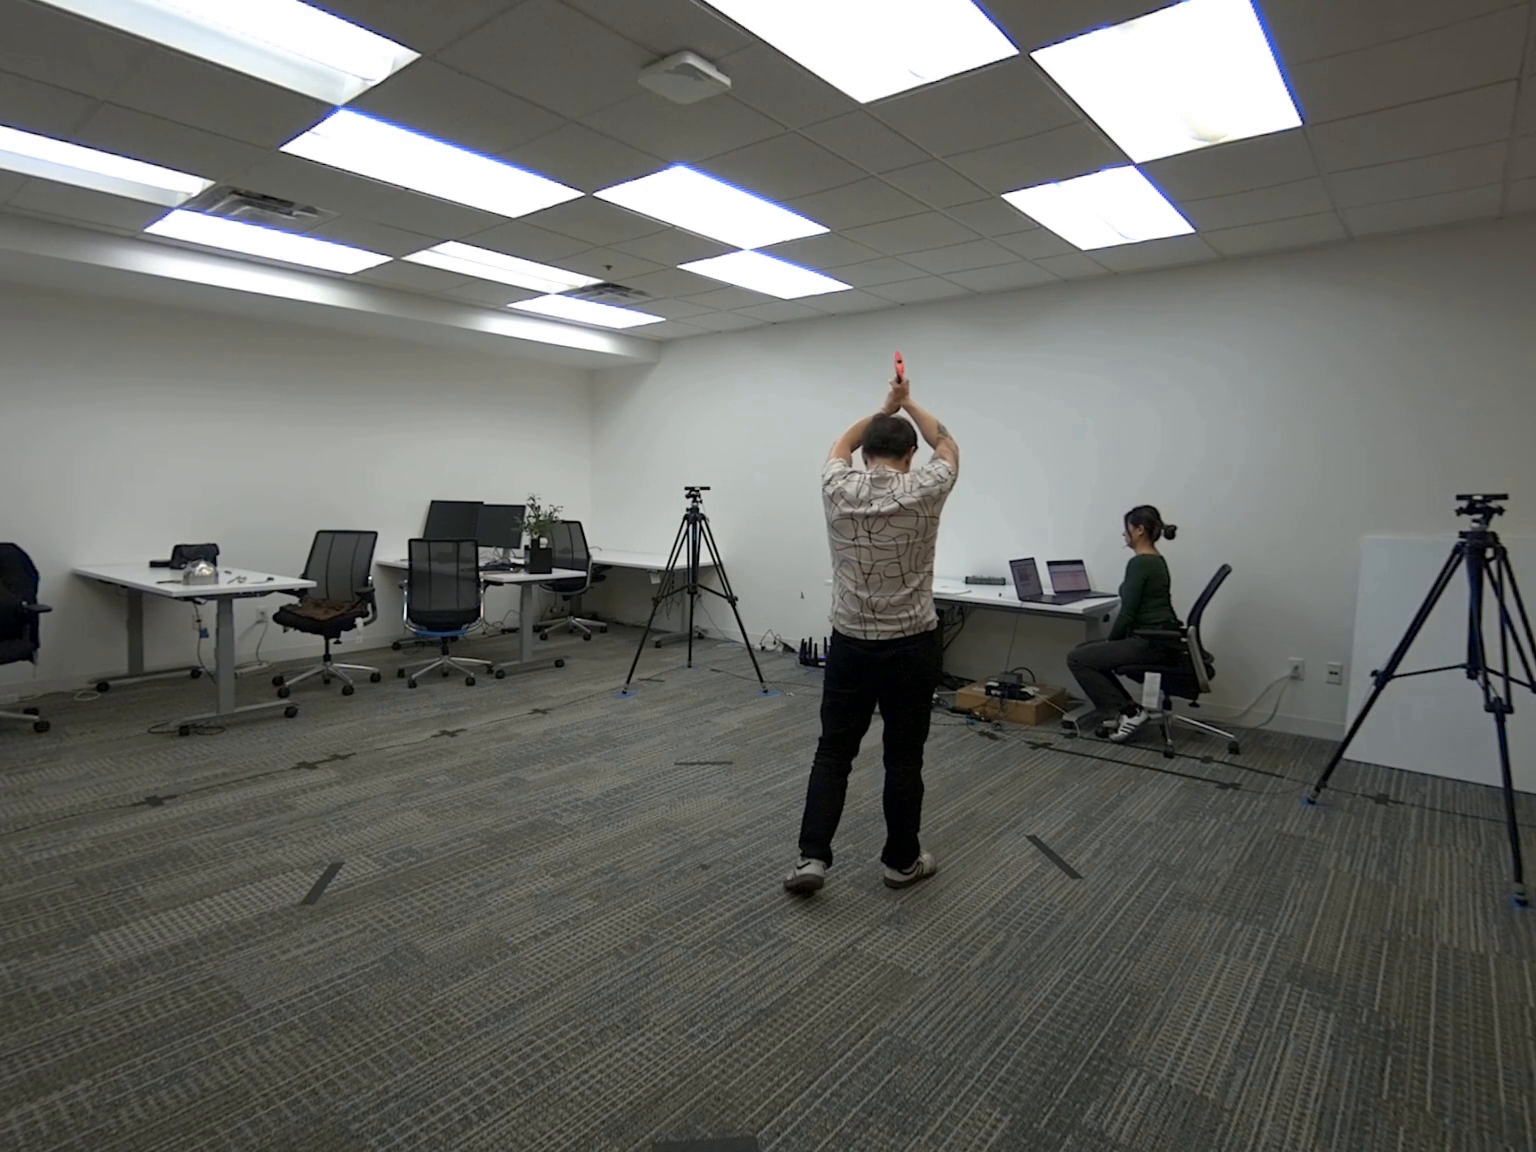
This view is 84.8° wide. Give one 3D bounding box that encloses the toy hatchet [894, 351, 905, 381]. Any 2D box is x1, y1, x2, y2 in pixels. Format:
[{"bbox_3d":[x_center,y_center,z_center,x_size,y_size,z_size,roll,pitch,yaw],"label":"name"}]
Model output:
[{"bbox_3d":[0.478,-0.743,3.153,0.029,0.133,0.266,-7,-12,0],"label":"toy hatchet"}]
